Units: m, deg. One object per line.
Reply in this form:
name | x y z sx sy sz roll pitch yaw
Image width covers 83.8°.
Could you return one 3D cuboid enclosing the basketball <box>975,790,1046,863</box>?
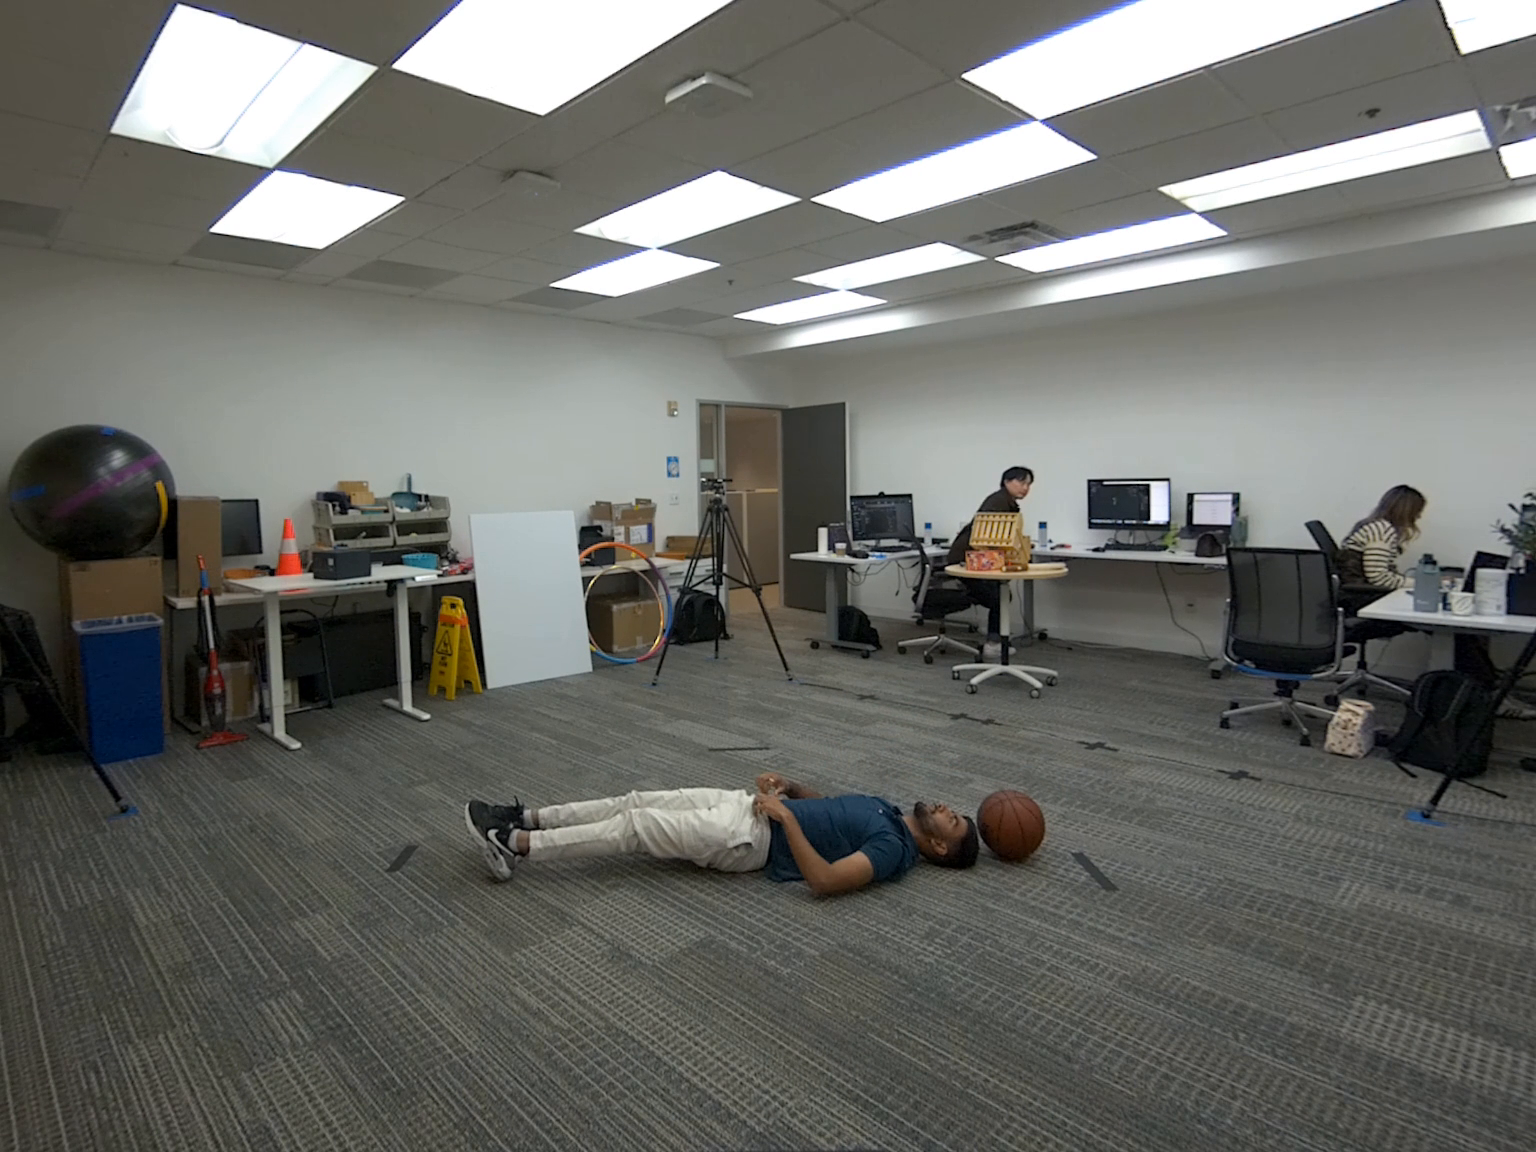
basketball | 0.894 0.906 3.130 0.236 0.235 0.237 -1 5 -2
